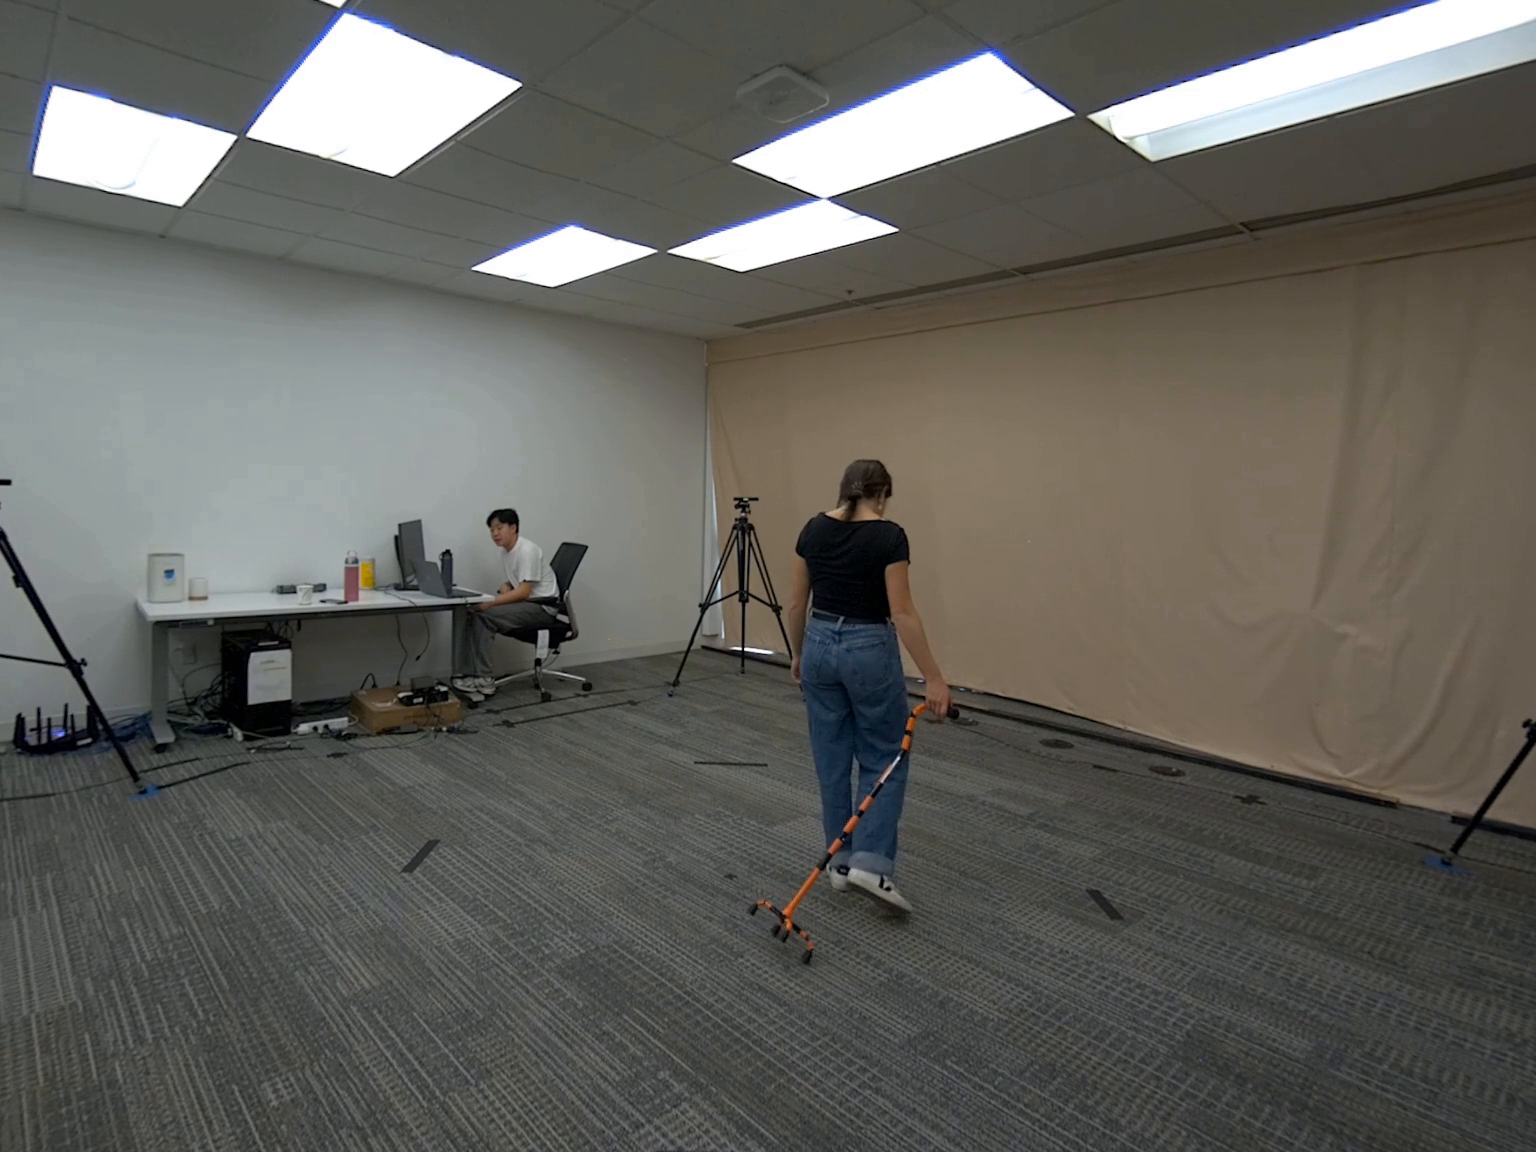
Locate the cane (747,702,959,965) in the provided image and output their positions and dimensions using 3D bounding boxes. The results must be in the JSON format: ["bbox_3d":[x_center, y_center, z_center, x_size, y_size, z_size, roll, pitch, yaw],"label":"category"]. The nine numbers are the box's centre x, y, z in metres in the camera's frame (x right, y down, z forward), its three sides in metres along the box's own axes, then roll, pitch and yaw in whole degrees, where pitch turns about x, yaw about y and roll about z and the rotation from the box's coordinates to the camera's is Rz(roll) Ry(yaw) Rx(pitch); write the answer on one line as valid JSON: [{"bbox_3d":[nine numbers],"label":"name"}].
[{"bbox_3d":[0.299,0.775,2.698,0.148,0.908,0.211,48,-18,-26],"label":"cane"}]
